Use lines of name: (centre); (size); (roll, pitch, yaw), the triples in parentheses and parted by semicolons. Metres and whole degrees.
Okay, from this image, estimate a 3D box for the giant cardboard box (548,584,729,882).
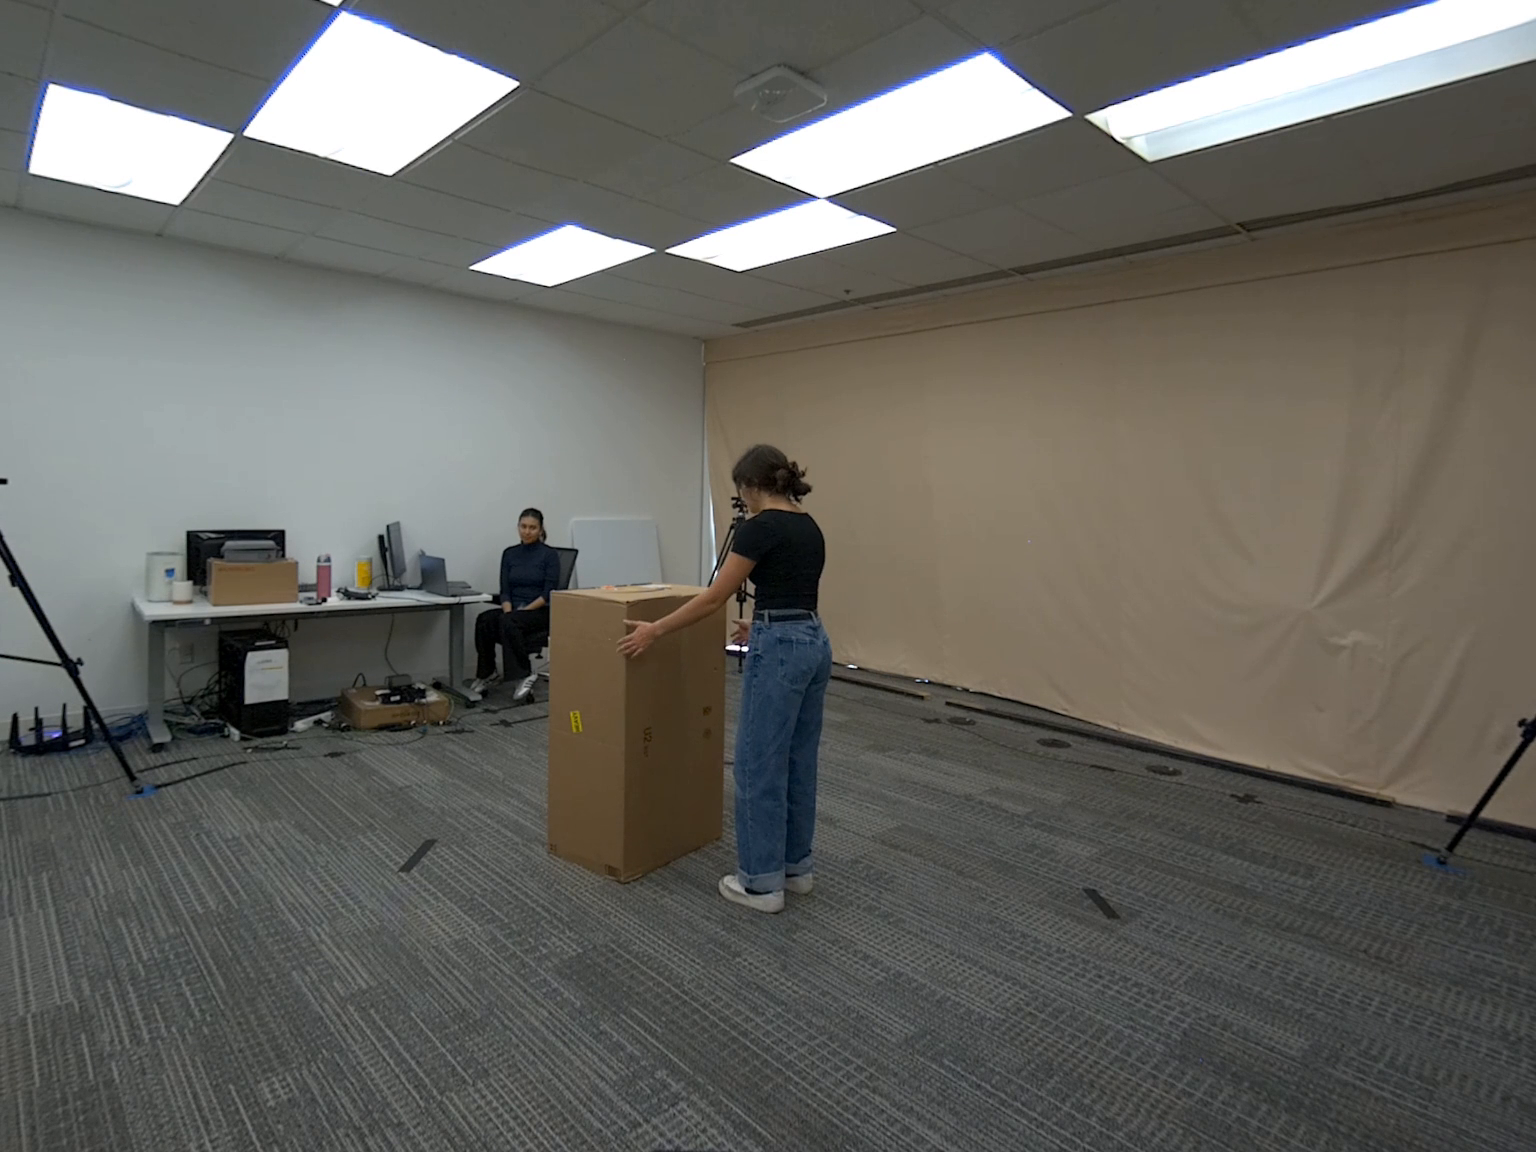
giant cardboard box: (-0.519, 0.567, 3.350); (0.437, 1.023, 0.565); (4, 4, 37)
